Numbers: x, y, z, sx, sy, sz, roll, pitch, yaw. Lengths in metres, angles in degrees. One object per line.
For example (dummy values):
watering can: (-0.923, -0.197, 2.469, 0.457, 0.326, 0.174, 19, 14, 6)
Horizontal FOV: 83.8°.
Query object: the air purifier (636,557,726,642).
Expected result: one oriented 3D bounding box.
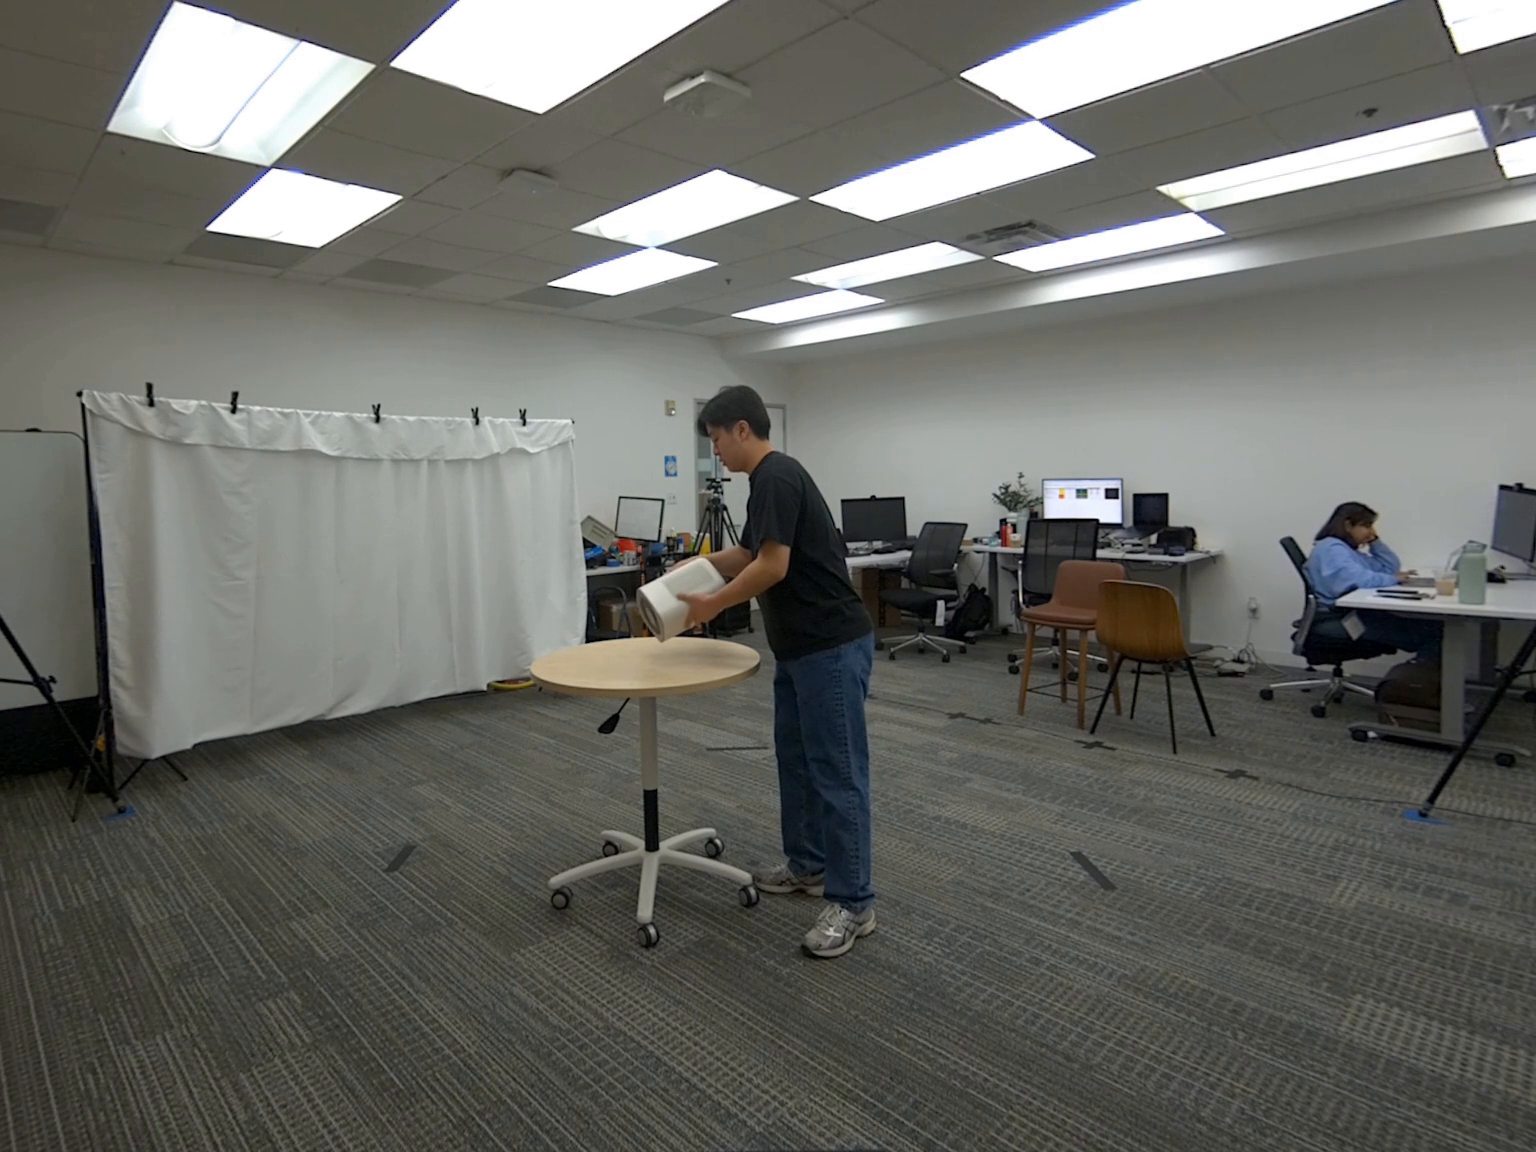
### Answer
air purifier: (-0.281, 0.075, 2.867, 0.263, 0.167, 0.178, -27, 57, -23)
